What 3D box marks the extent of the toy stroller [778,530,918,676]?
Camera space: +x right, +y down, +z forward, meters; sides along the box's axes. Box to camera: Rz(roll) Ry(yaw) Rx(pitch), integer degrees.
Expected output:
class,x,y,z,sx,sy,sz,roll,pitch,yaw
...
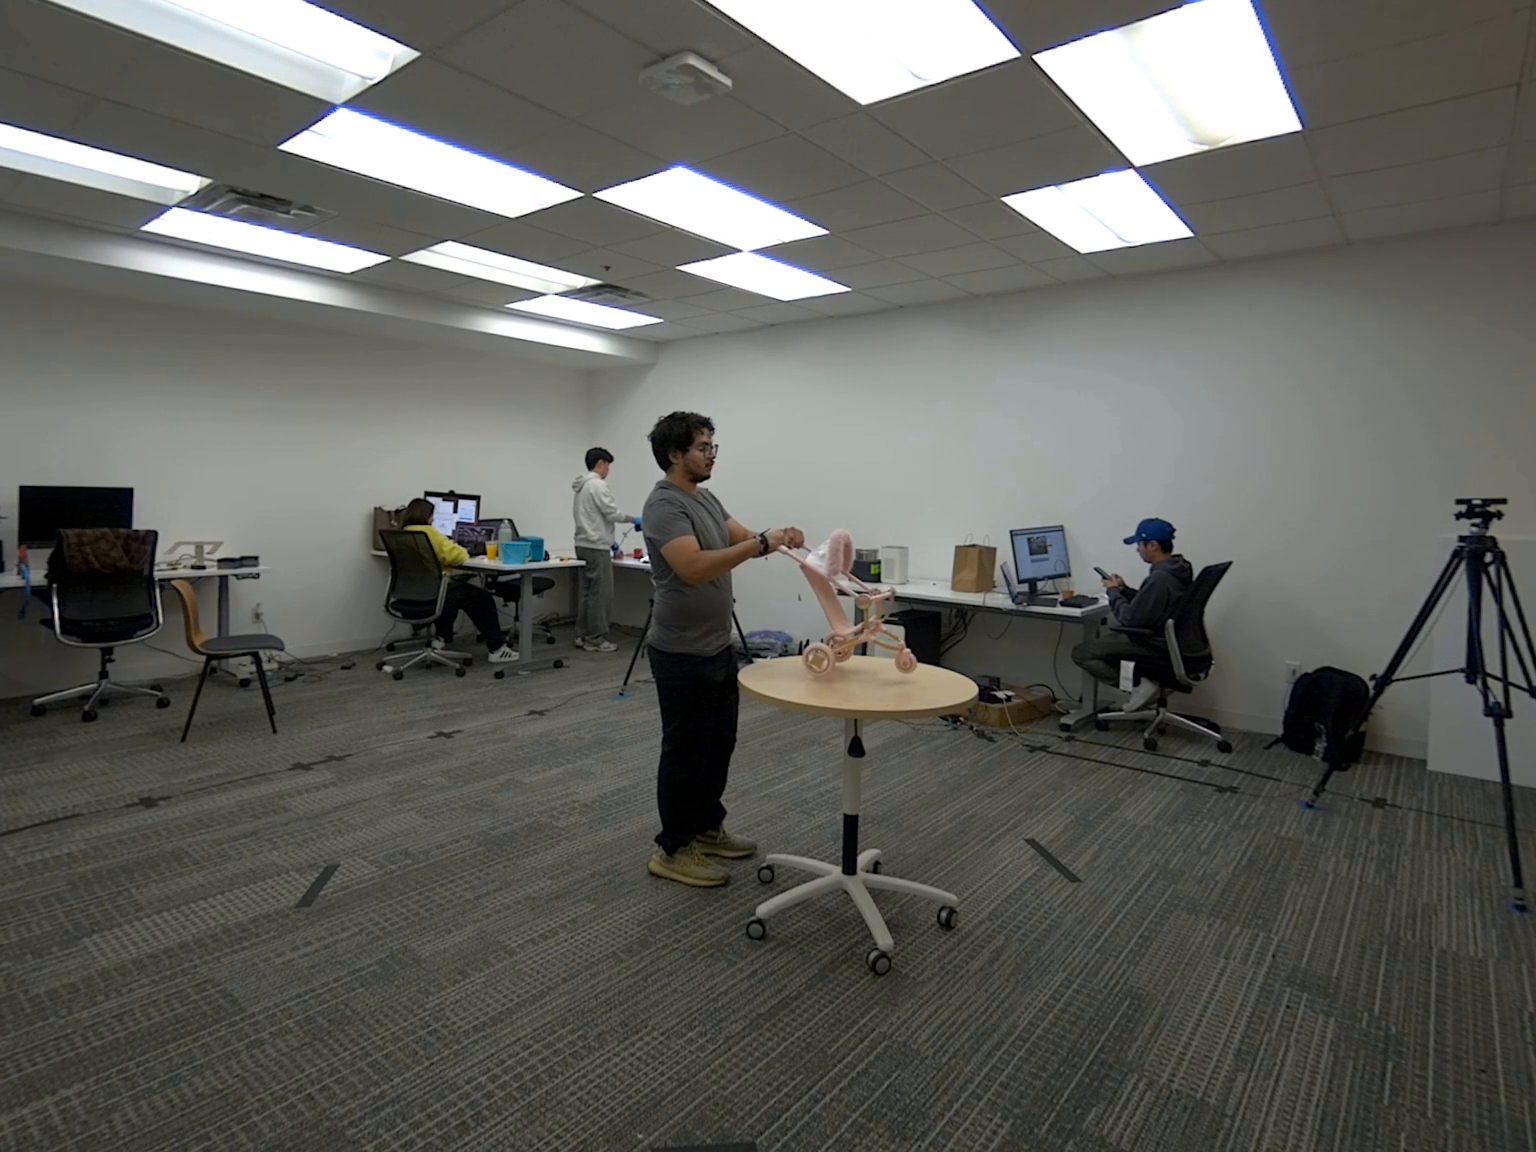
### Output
class,x,y,z,sx,sy,sz,roll,pitch,yaw
toy stroller,0.261,0.086,2.794,0.347,0.537,0.275,-15,-3,25
